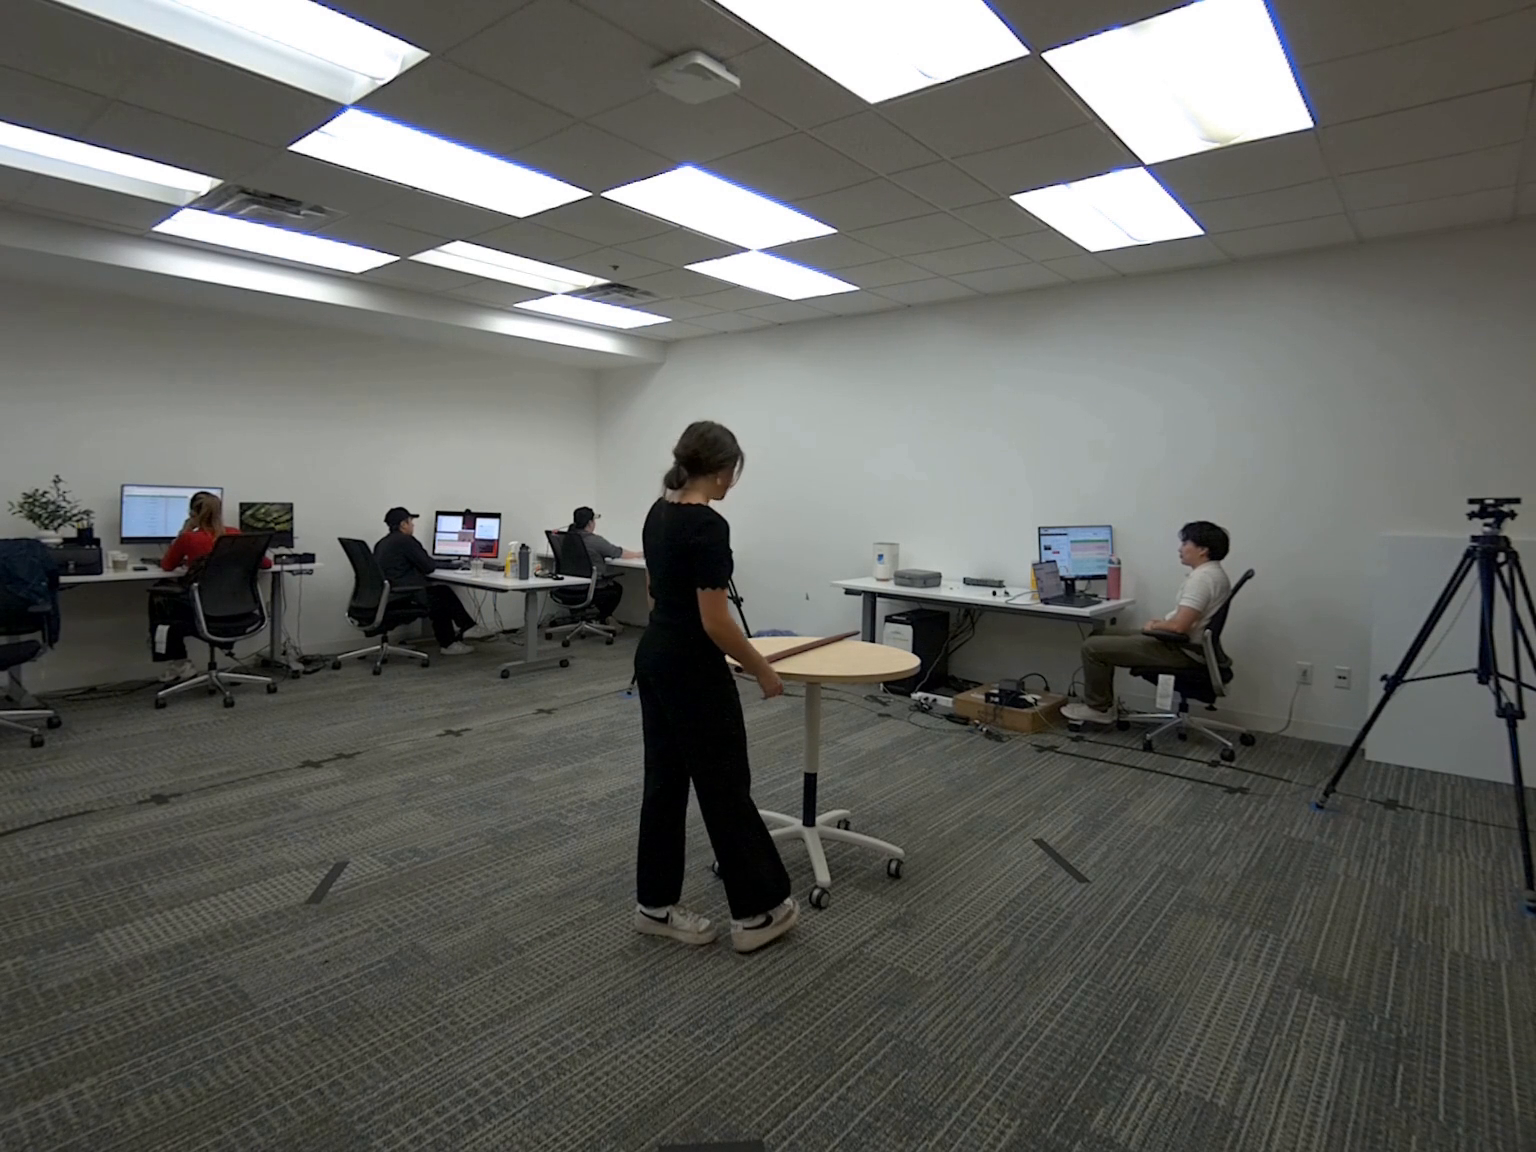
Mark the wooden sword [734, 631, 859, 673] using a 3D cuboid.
[{"bbox_3d":[0.126,0.271,3.189,0.053,0.024,1.000,3,5,27],"label":"wooden sword"}]
